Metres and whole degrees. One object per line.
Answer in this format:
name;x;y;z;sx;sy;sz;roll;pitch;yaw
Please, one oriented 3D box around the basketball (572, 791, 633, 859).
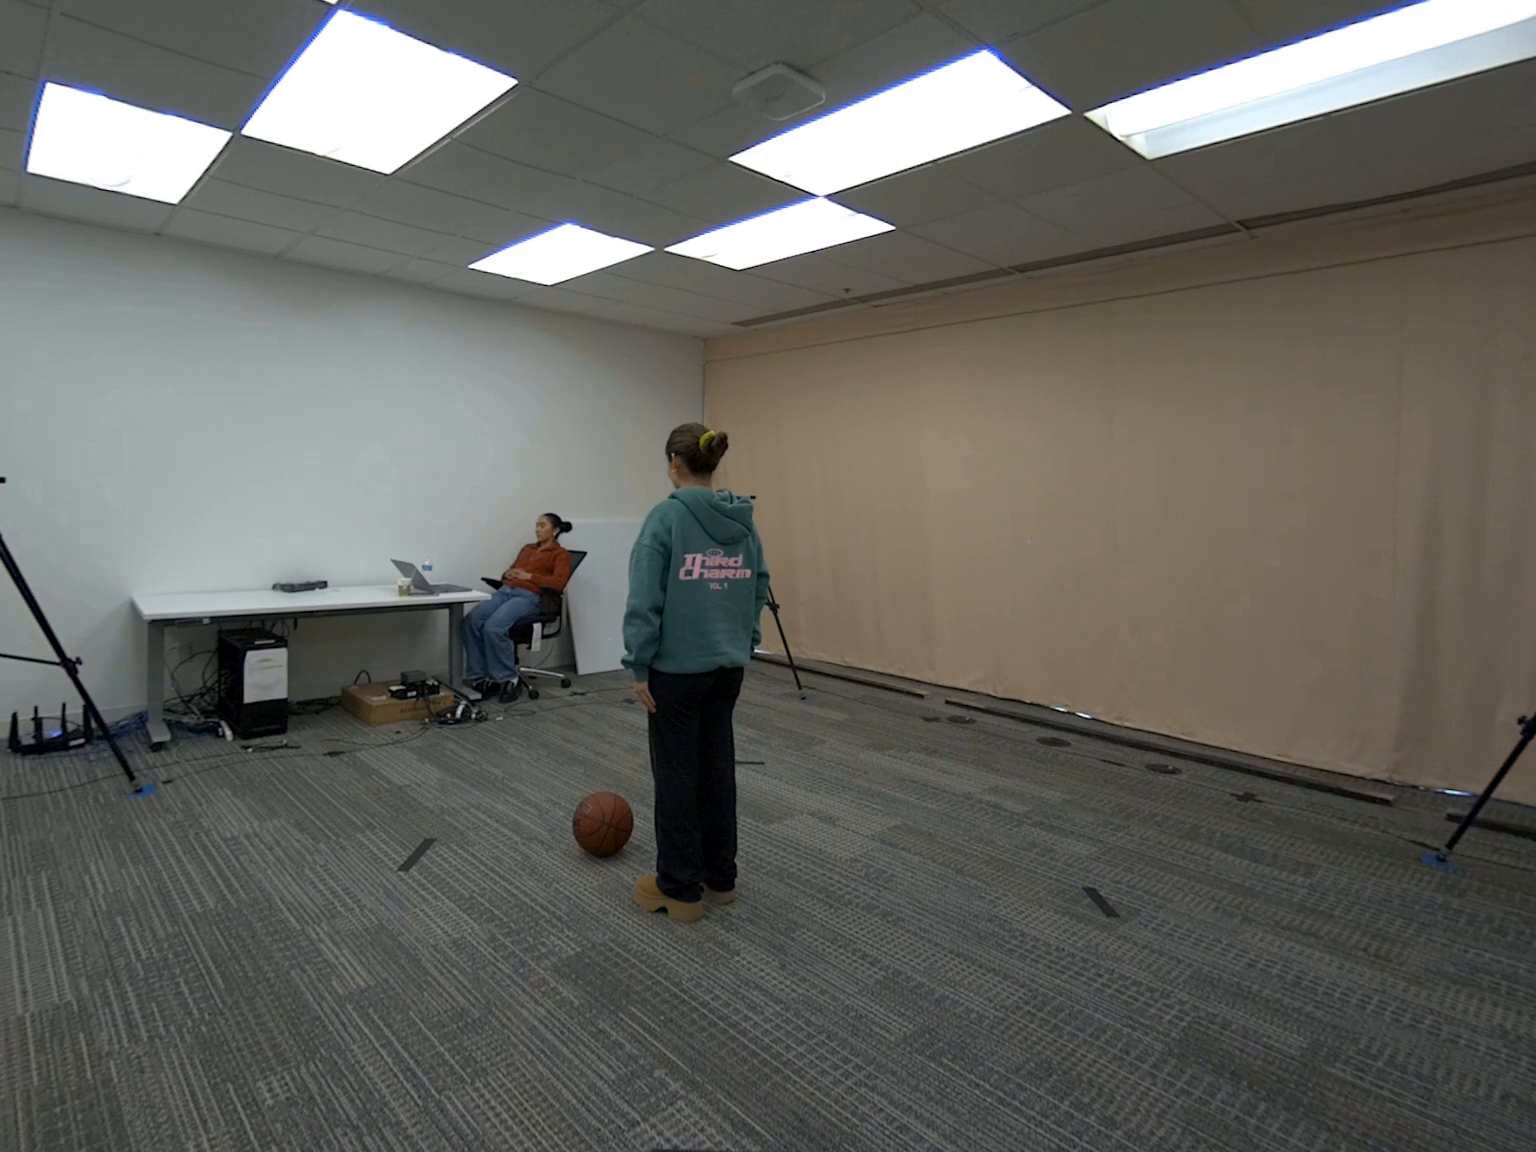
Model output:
basketball;-0.651;0.957;3.261;0.236;0.235;0.237;1;4;-1
